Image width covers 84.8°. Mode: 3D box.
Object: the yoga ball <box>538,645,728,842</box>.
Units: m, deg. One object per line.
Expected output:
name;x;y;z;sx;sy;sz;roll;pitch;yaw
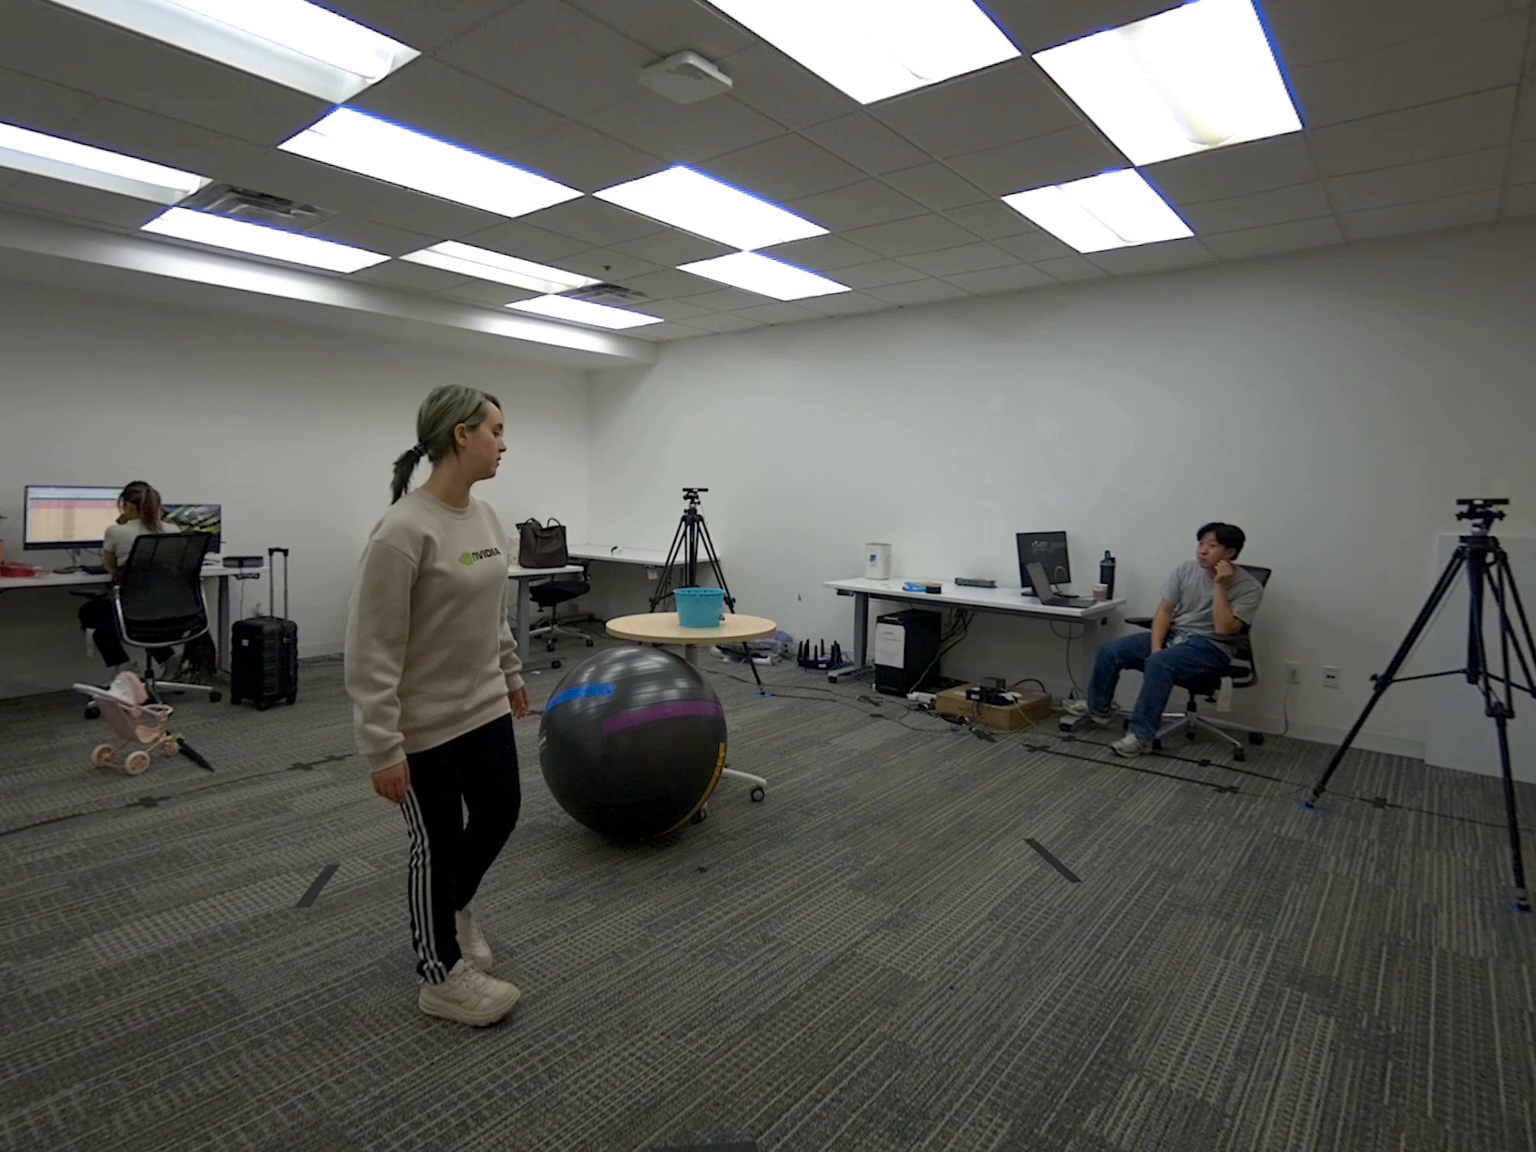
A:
yoga ball;-0.565;0.665;3.447;0.757;0.756;0.762;1;4;-2
